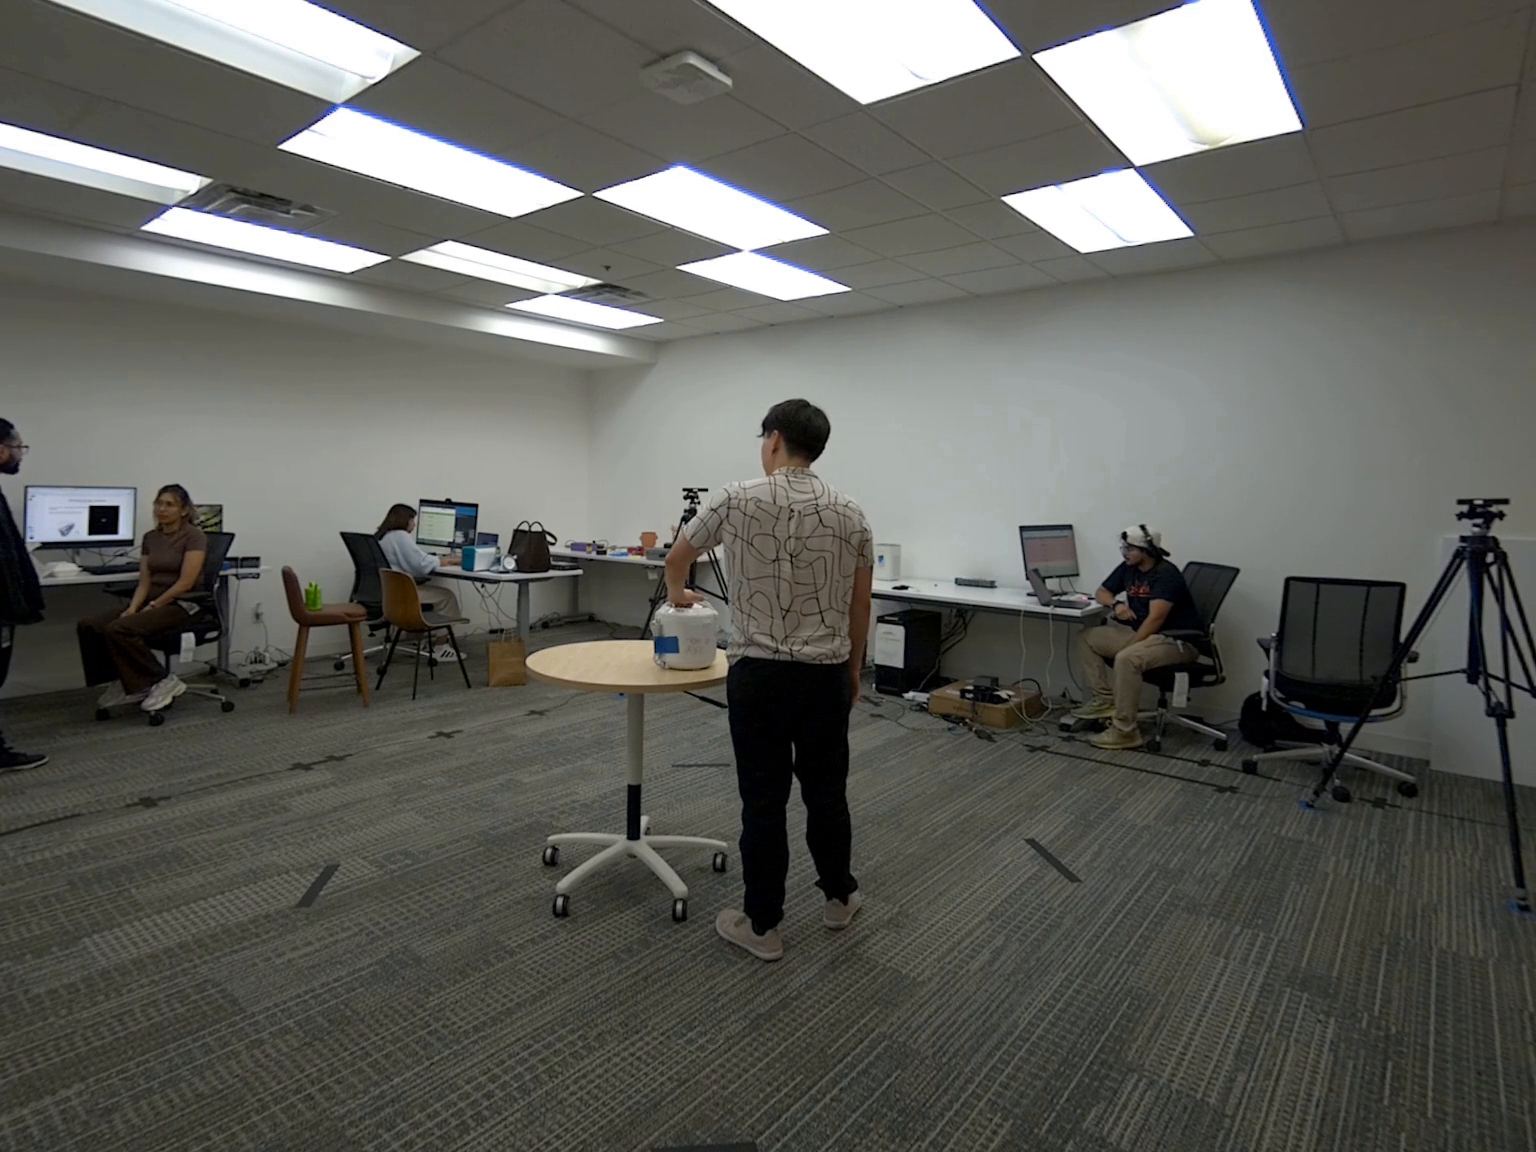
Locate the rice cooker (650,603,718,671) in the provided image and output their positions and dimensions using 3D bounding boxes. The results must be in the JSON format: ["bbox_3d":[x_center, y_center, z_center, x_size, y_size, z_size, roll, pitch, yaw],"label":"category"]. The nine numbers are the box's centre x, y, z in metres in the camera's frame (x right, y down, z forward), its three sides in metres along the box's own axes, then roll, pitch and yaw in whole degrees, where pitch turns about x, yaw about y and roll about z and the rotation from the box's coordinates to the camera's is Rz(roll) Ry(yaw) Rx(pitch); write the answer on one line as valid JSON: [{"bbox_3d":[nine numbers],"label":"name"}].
[{"bbox_3d":[-0.291,0.188,2.930,0.223,0.232,0.216,2,4,8],"label":"rice cooker"}]
